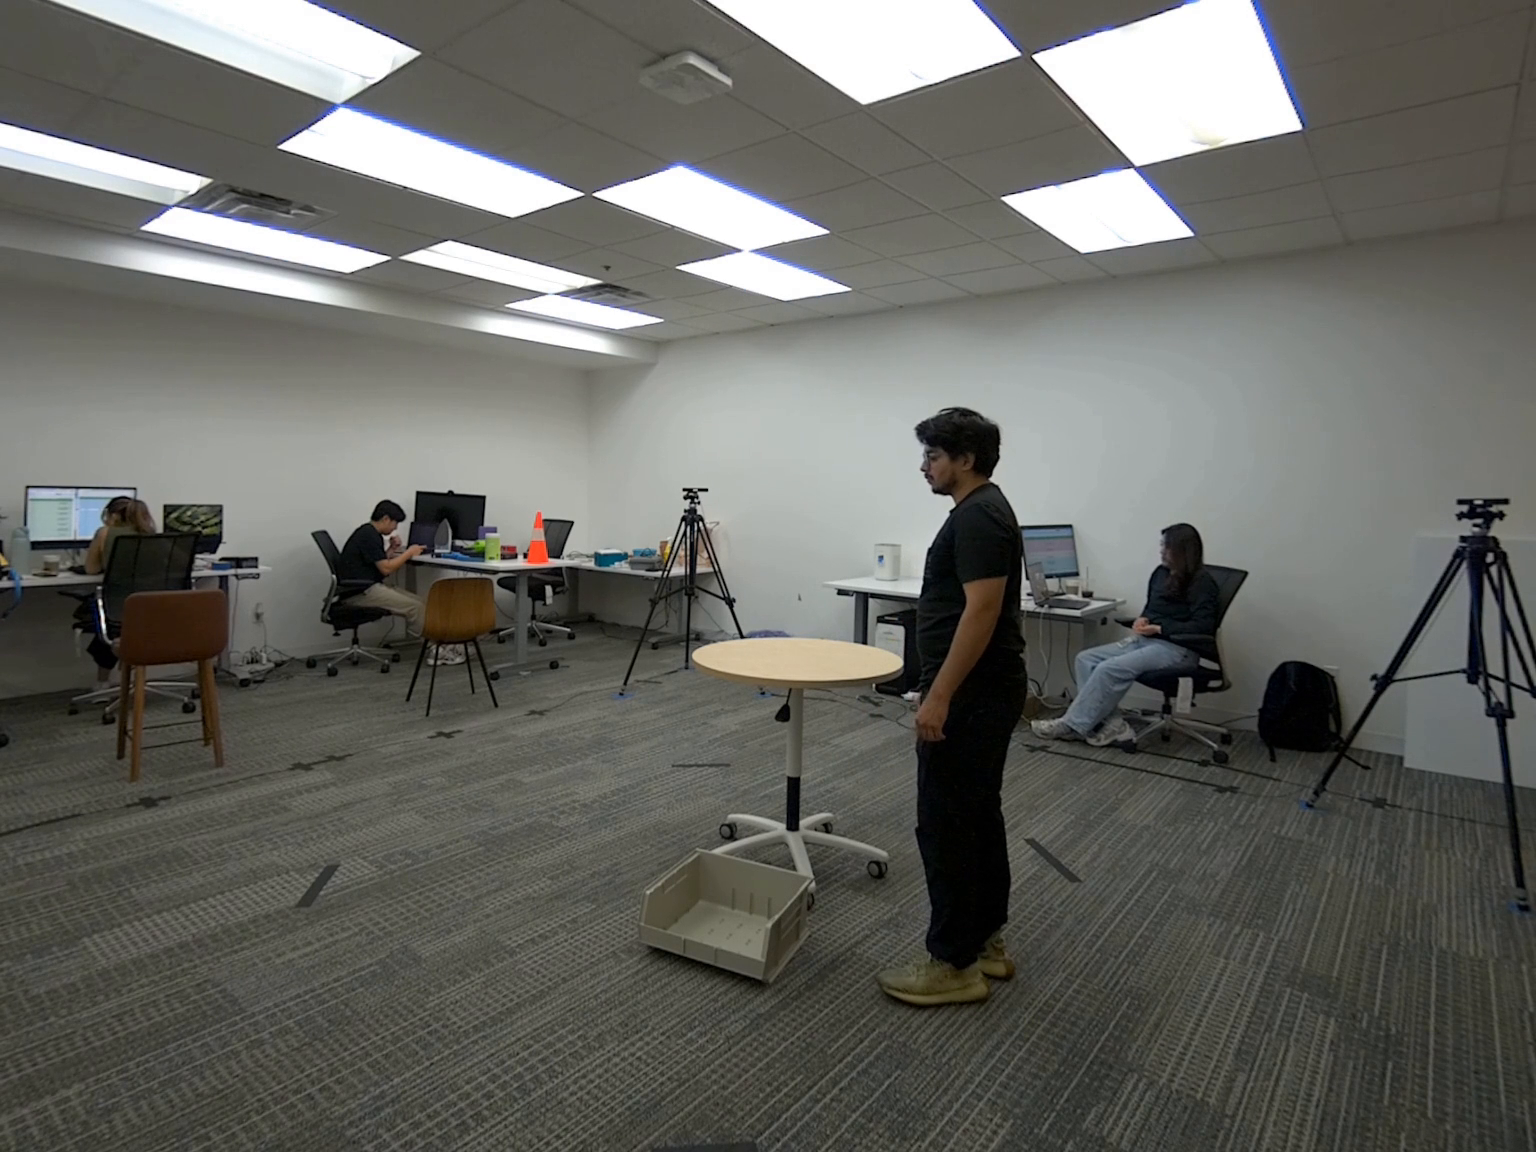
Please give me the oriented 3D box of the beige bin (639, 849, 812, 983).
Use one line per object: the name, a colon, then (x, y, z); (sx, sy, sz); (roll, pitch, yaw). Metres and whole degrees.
beige bin: (-0.128, 1.034, 2.601); (0.433, 0.188, 0.369); (3, 5, 25)
